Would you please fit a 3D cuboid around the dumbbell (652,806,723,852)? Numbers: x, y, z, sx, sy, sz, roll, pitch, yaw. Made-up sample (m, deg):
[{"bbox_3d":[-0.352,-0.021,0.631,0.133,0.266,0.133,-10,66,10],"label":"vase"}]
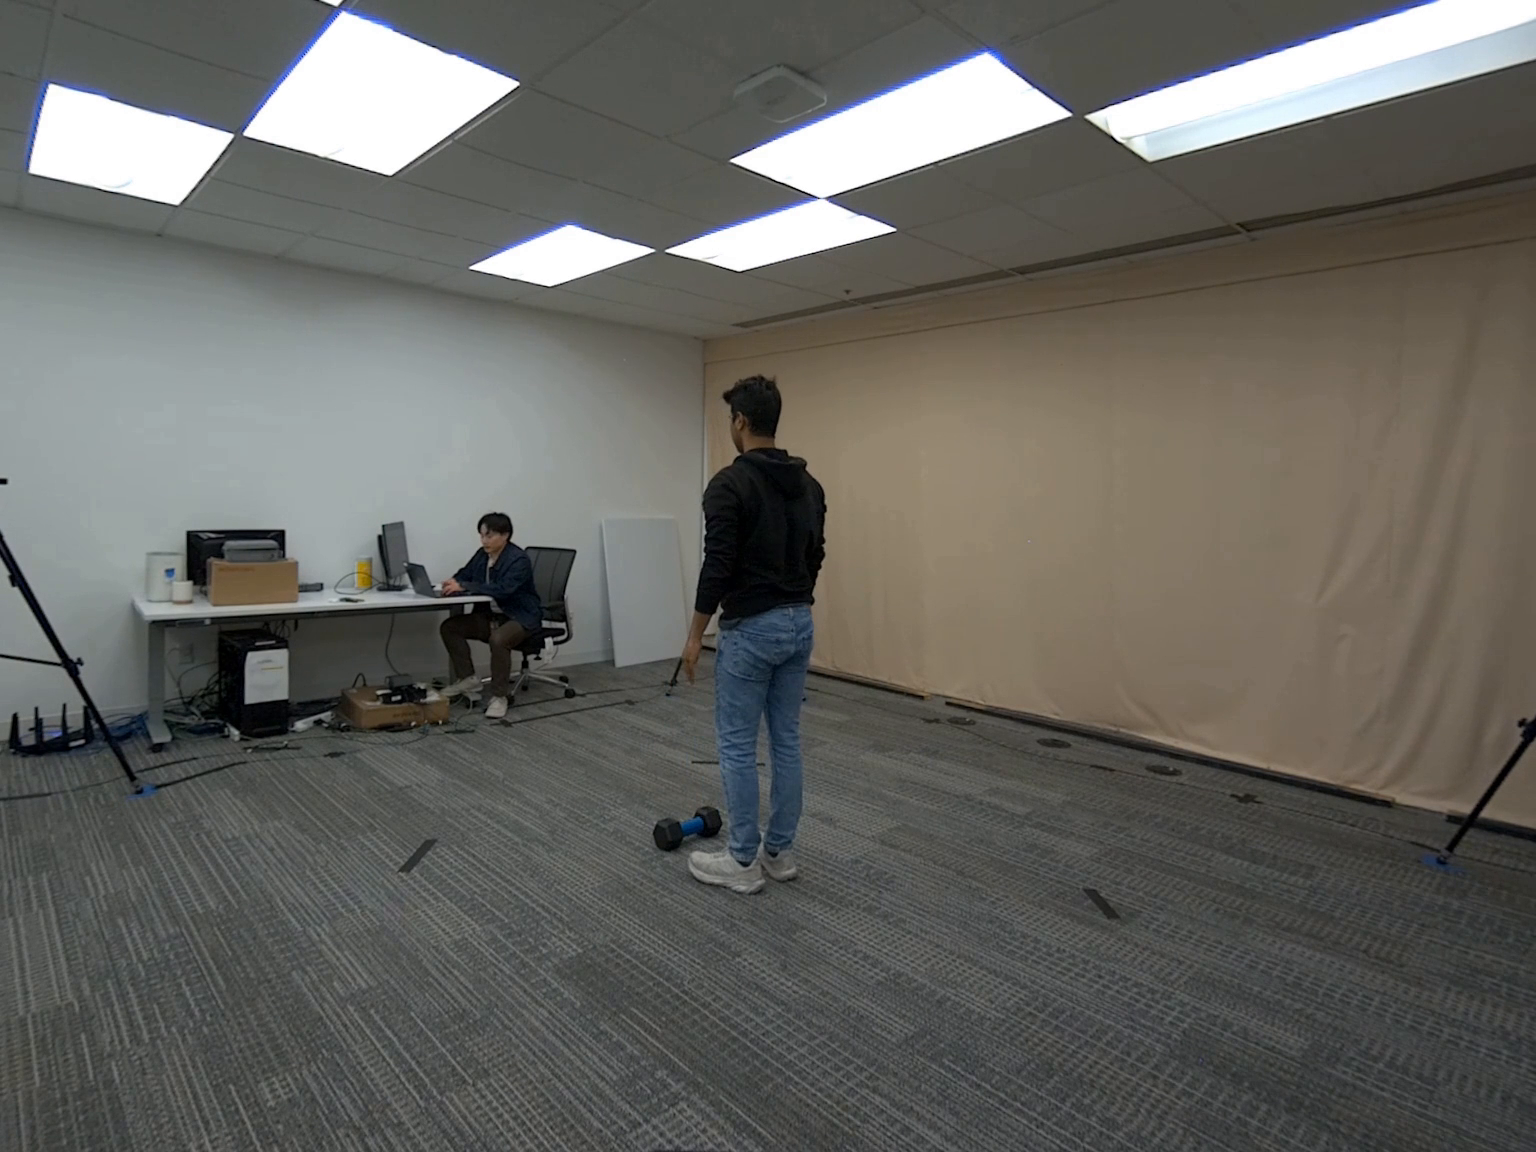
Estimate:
[{"bbox_3d":[-0.333,1.022,3.409,0.287,0.125,0.109,-3,-26,-46],"label":"dumbbell"}]
